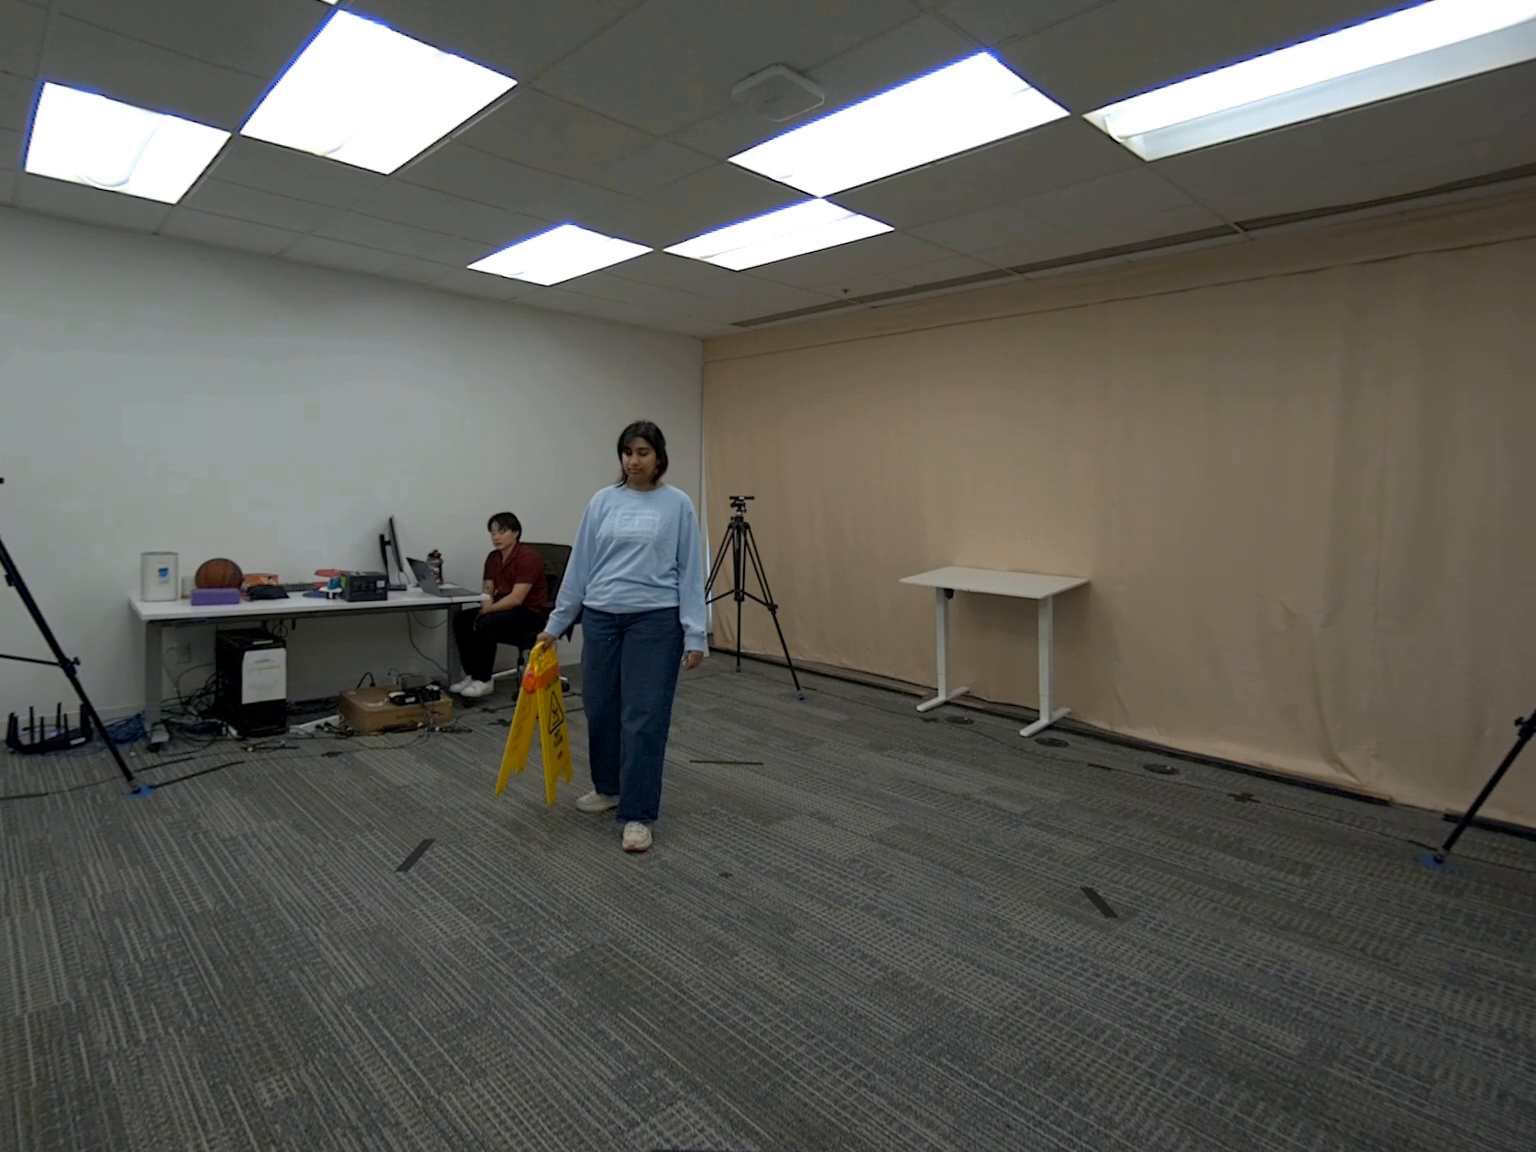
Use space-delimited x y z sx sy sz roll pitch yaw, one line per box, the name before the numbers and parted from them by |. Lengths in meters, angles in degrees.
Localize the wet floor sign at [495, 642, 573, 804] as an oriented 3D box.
wet floor sign | -0.964 0.586 3.544 0.292 0.641 0.282 7 11 8
